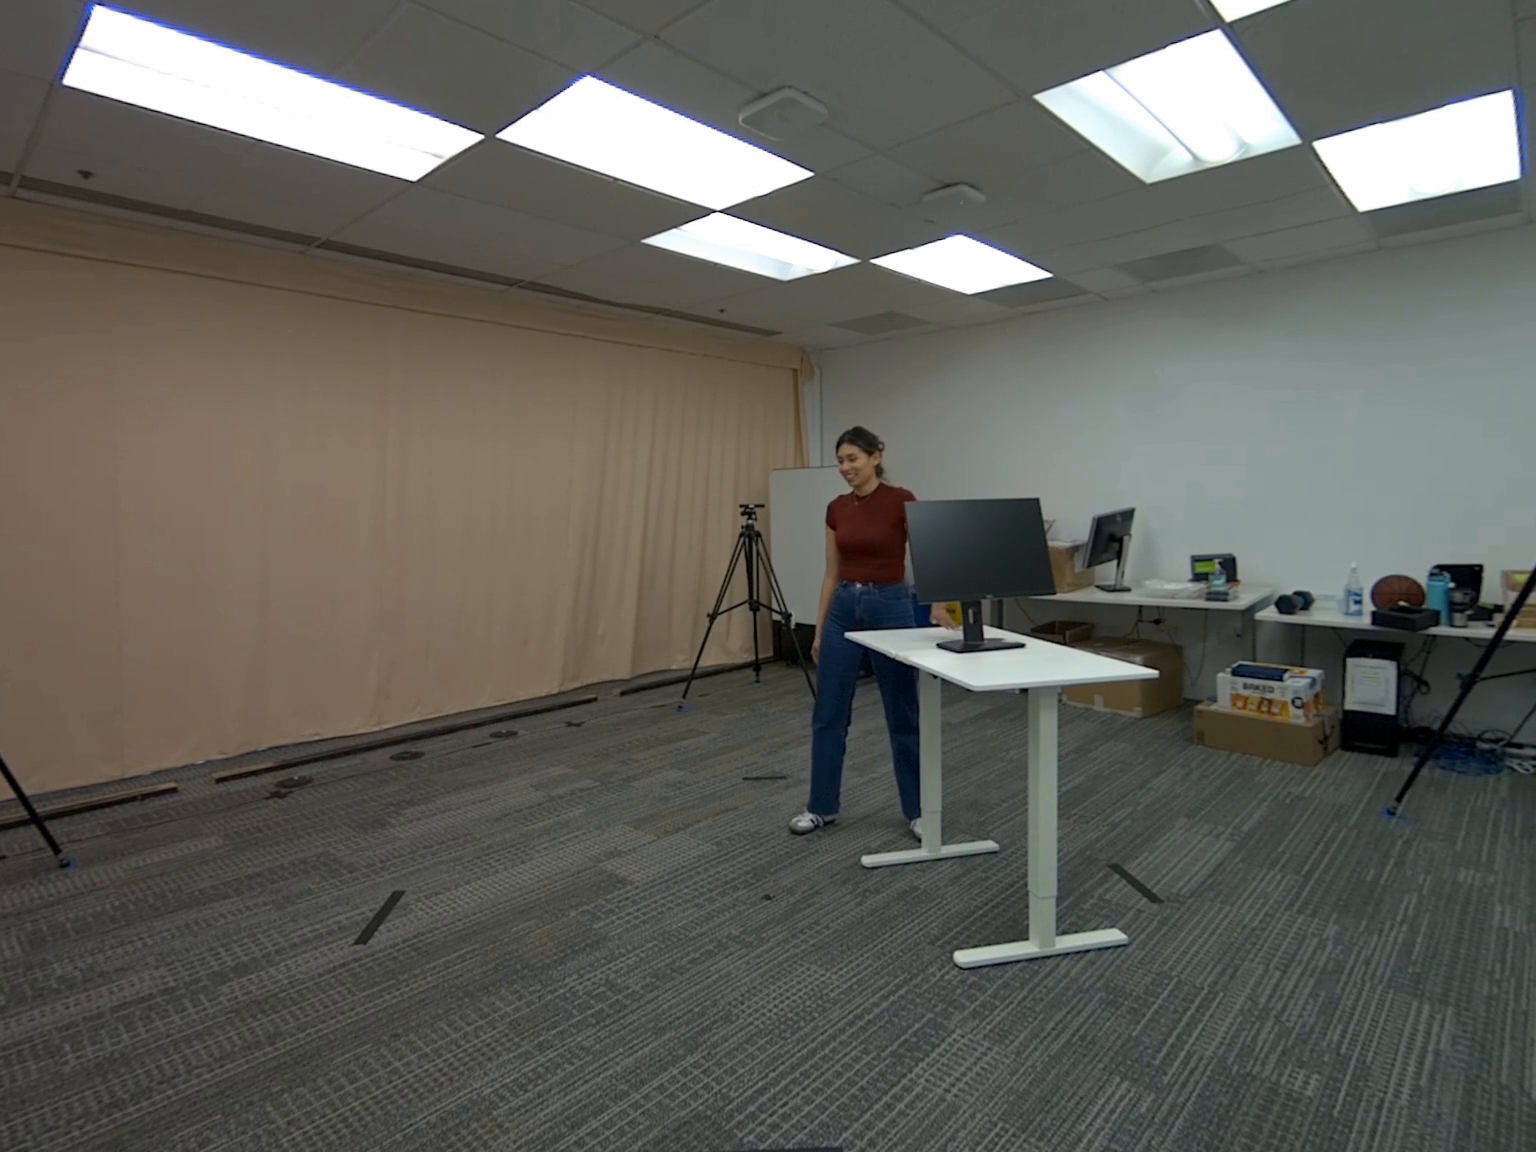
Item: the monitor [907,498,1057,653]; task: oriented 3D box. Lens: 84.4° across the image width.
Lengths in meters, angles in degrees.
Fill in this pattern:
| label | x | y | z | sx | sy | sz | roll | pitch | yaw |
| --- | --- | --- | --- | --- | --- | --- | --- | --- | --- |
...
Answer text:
| label | x | y | z | sx | sy | sz | roll | pitch | yaw |
| --- | --- | --- | --- | --- | --- | --- | --- | --- | --- |
| monitor | 0.732 | -0.006 | 2.938 | 0.529 | 0.522 | 0.190 | -3 | 1 | -18 |
